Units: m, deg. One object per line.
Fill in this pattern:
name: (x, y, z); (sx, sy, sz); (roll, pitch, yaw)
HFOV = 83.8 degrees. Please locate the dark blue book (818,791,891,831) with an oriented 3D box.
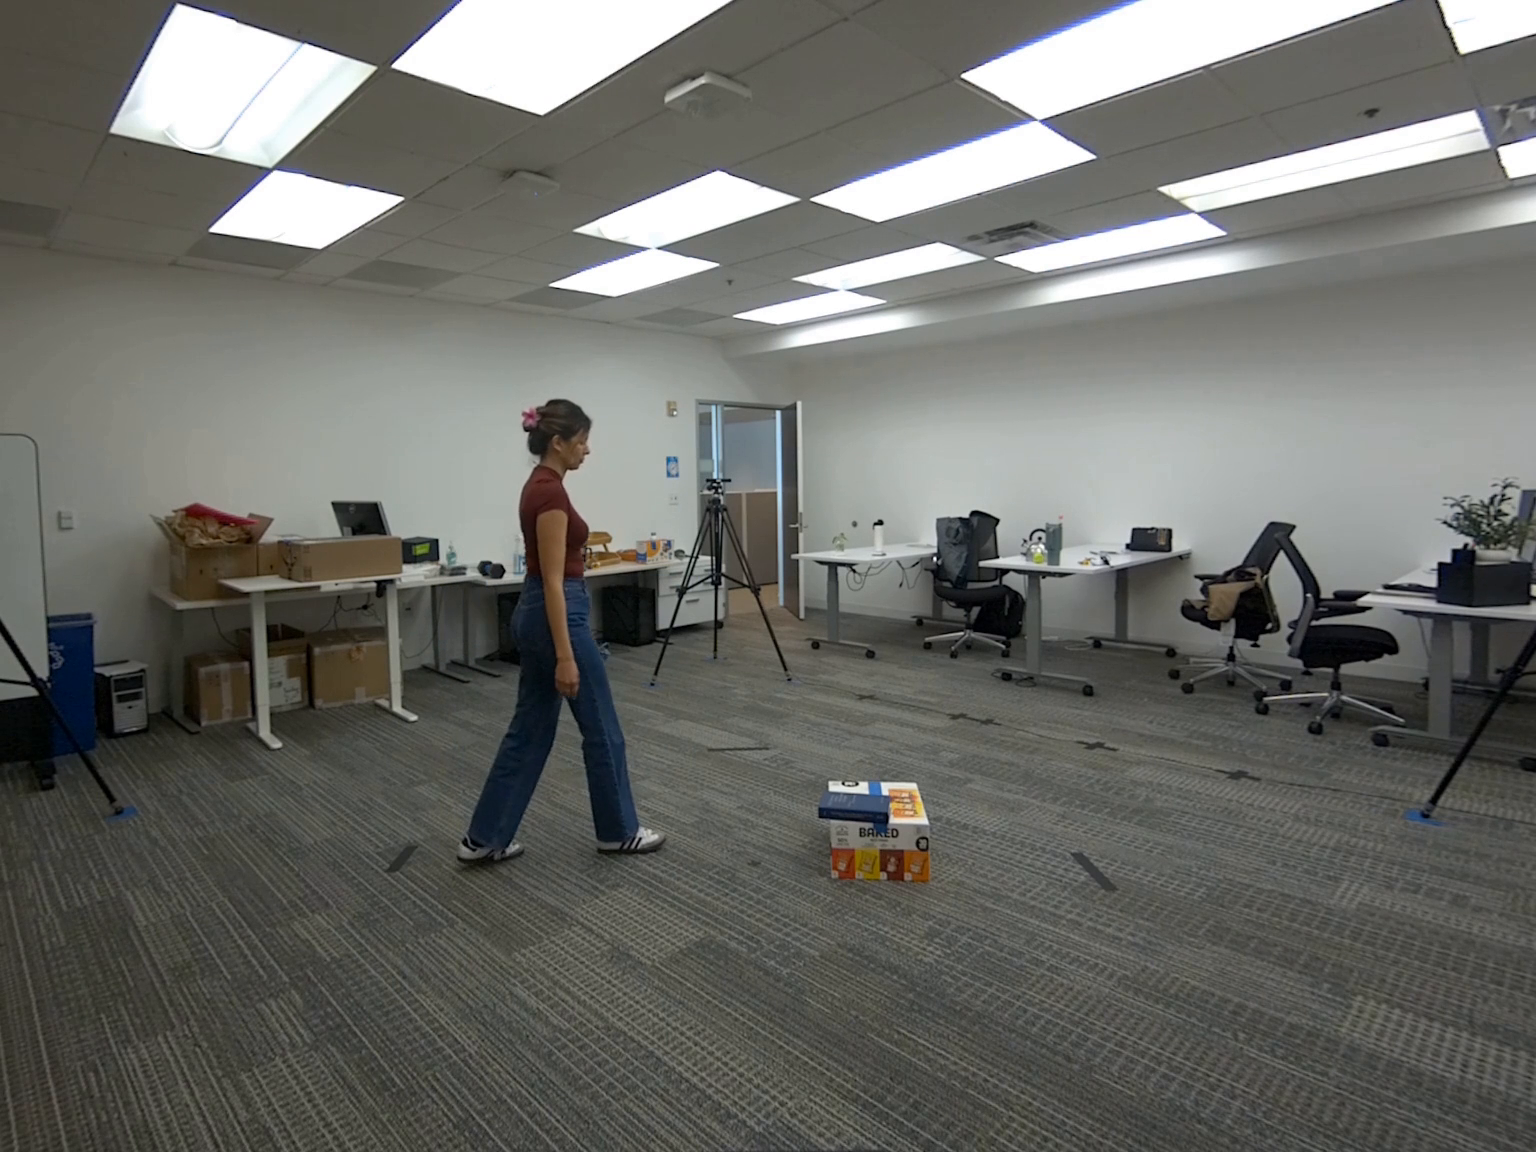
dark blue book: (0.306, 0.812, 3.037); (0.248, 0.045, 0.162); (1, 5, 13)
